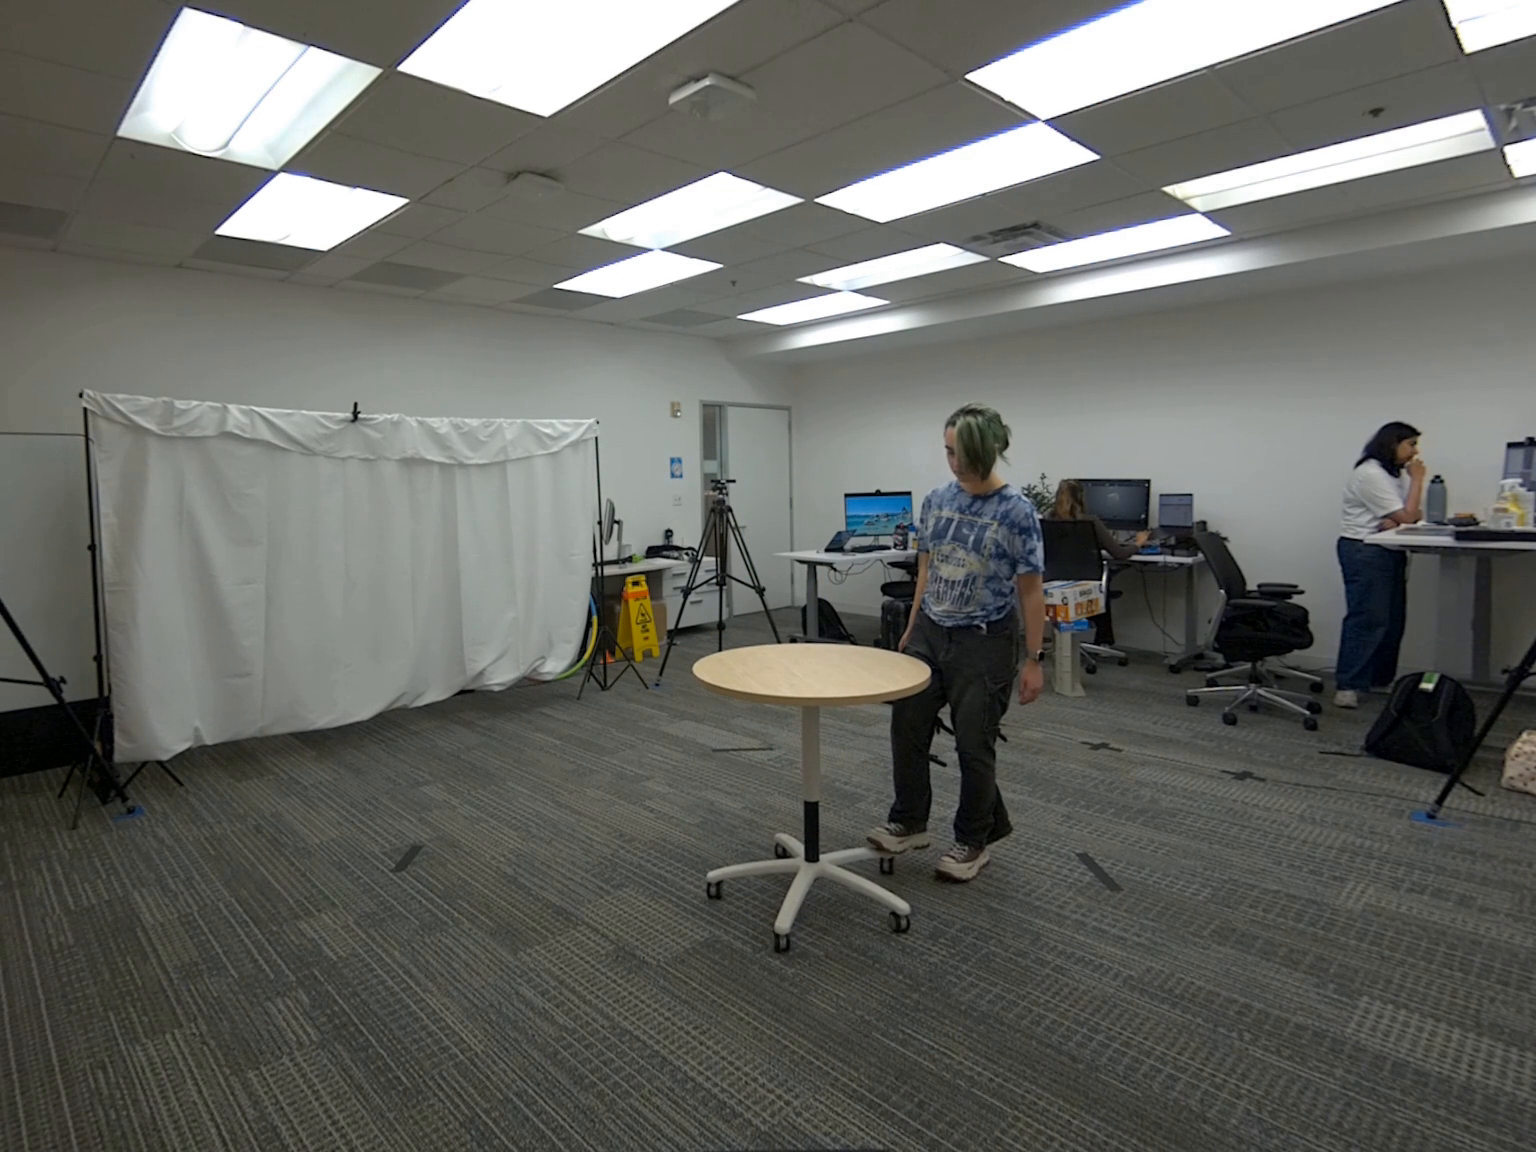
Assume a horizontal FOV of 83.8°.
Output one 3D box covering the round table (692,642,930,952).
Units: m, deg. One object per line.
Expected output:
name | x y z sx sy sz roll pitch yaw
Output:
round table | 0.145 0.690 2.795 0.763 0.791 0.768 -1 5 -2
